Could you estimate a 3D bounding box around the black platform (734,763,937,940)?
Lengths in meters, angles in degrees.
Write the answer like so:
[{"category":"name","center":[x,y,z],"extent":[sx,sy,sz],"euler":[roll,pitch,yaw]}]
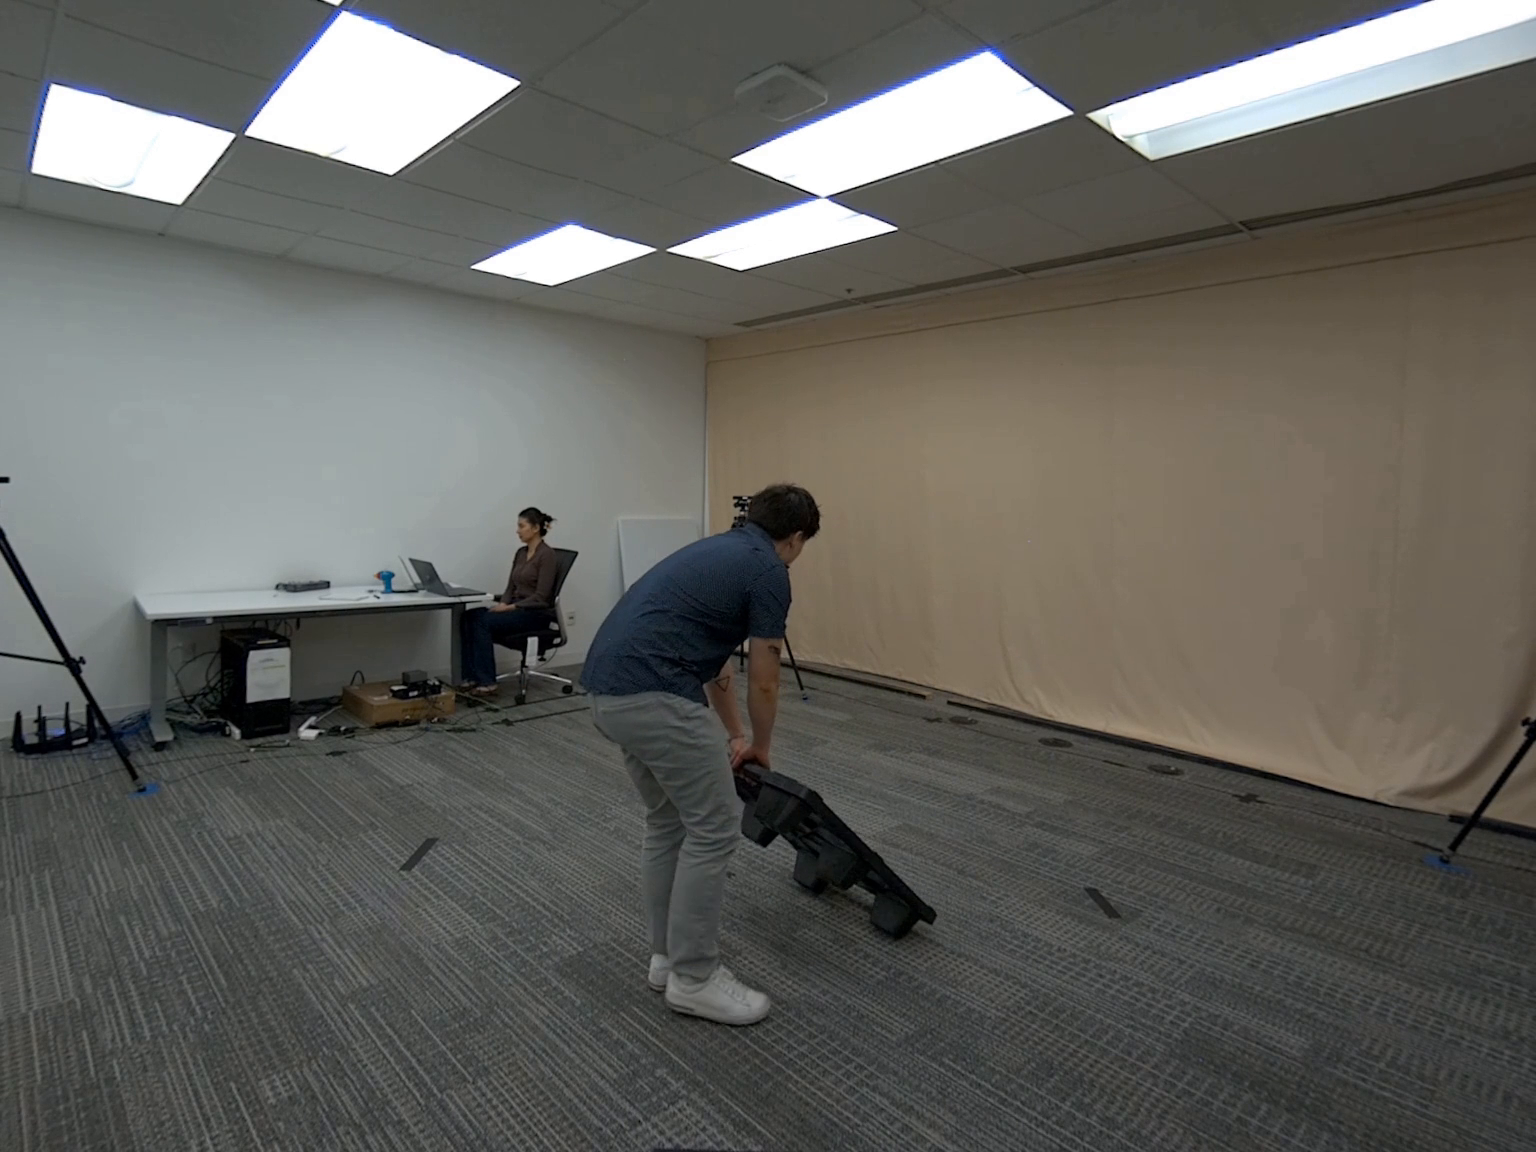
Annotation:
[{"category":"black platform","center":[0.096,0.846,2.692],"extent":[0.620,0.144,0.783],"euler":[7,-37,50]}]
